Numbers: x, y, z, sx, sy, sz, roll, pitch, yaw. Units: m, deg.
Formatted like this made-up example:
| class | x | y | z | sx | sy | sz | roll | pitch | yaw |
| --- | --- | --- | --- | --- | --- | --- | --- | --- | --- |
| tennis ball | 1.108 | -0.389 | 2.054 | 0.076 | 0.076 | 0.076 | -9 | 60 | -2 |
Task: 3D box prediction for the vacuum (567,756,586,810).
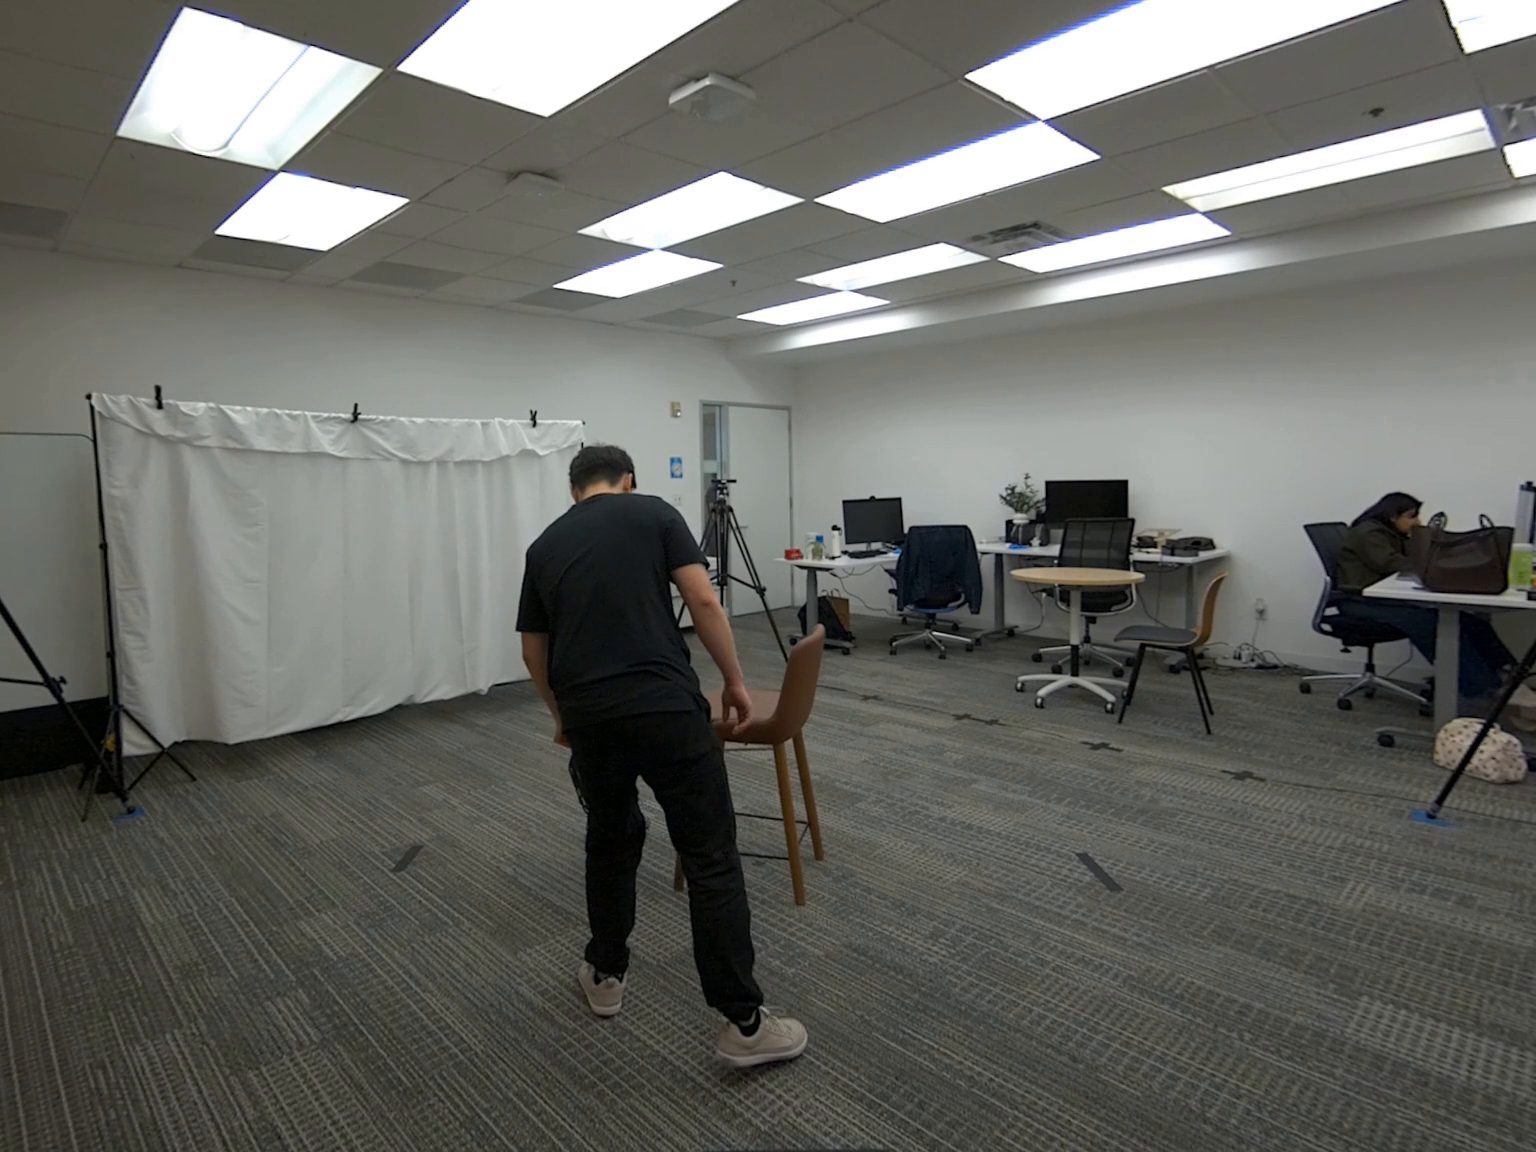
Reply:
| class | x | y | z | sx | sy | sz | roll | pitch | yaw |
| --- | --- | --- | --- | --- | --- | --- | --- | --- | --- |
| vacuum | -0.576 | 0.747 | 2.897 | 0.253 | 0.147 | 1.024 | 2 | -32 | 0 |
